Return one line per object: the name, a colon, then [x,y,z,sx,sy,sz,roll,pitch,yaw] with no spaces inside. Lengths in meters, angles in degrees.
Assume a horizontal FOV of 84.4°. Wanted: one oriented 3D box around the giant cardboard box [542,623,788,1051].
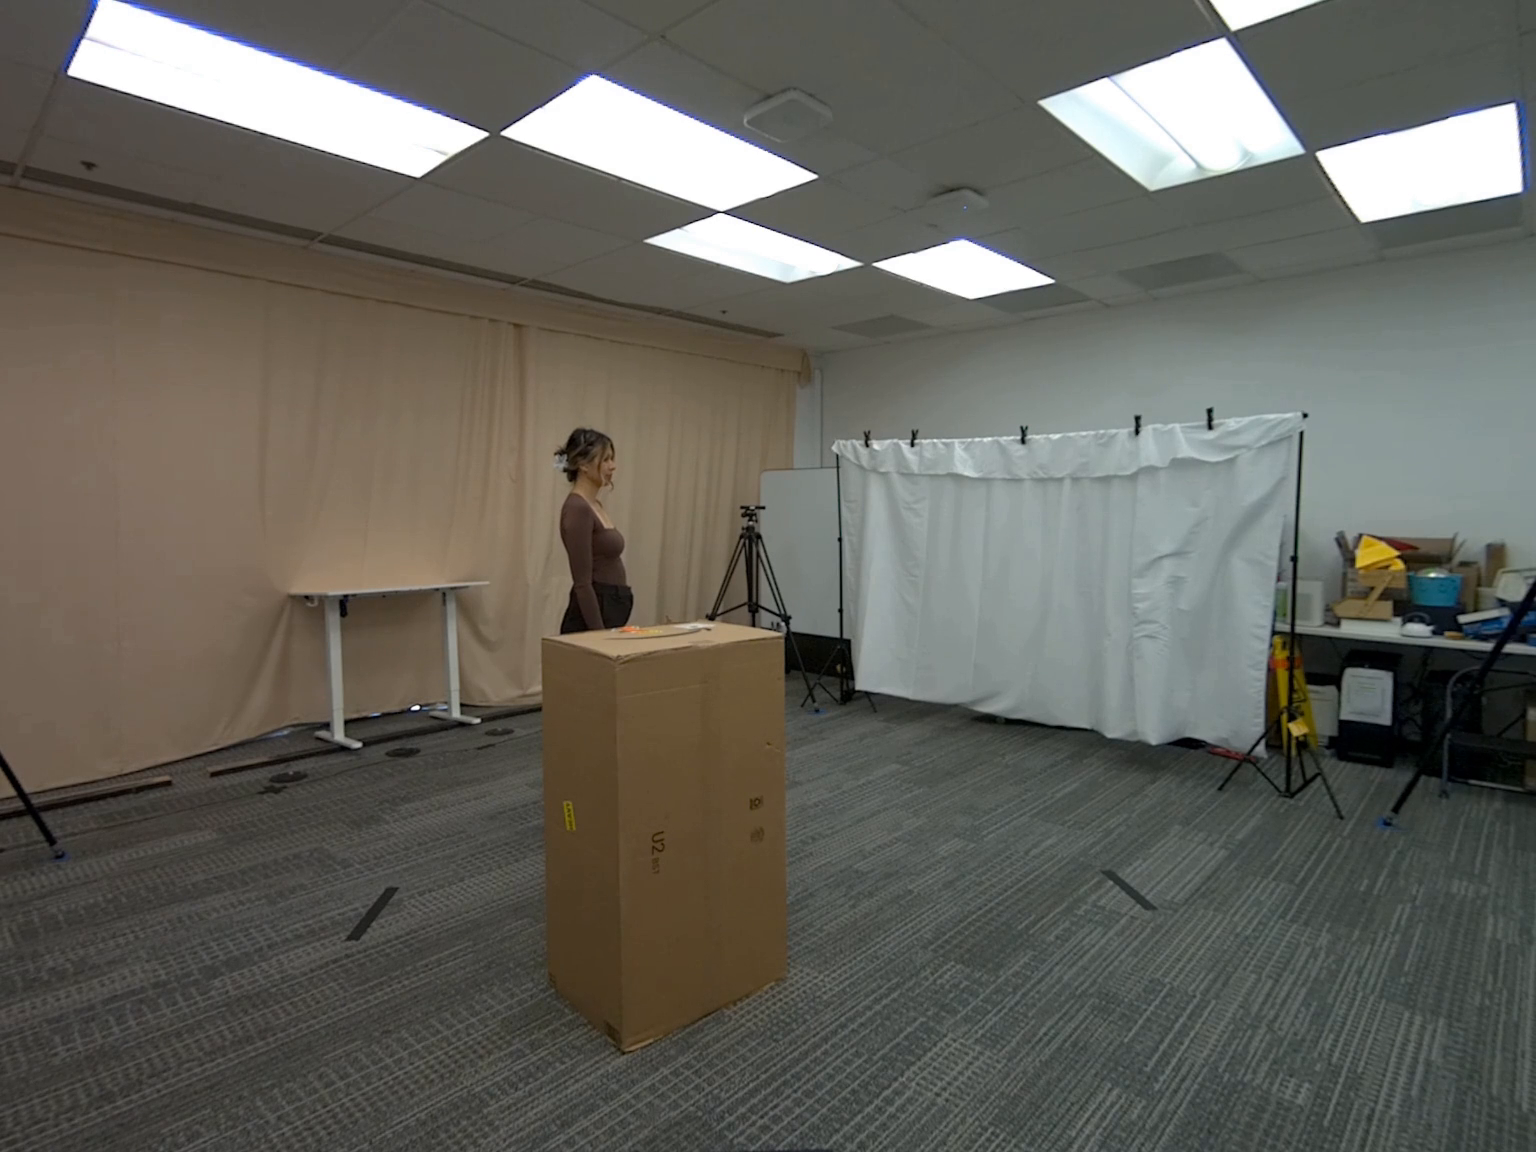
giant cardboard box: [-0.297,0.681,2.453,0.566,1.025,0.461,-3,3,-38]
